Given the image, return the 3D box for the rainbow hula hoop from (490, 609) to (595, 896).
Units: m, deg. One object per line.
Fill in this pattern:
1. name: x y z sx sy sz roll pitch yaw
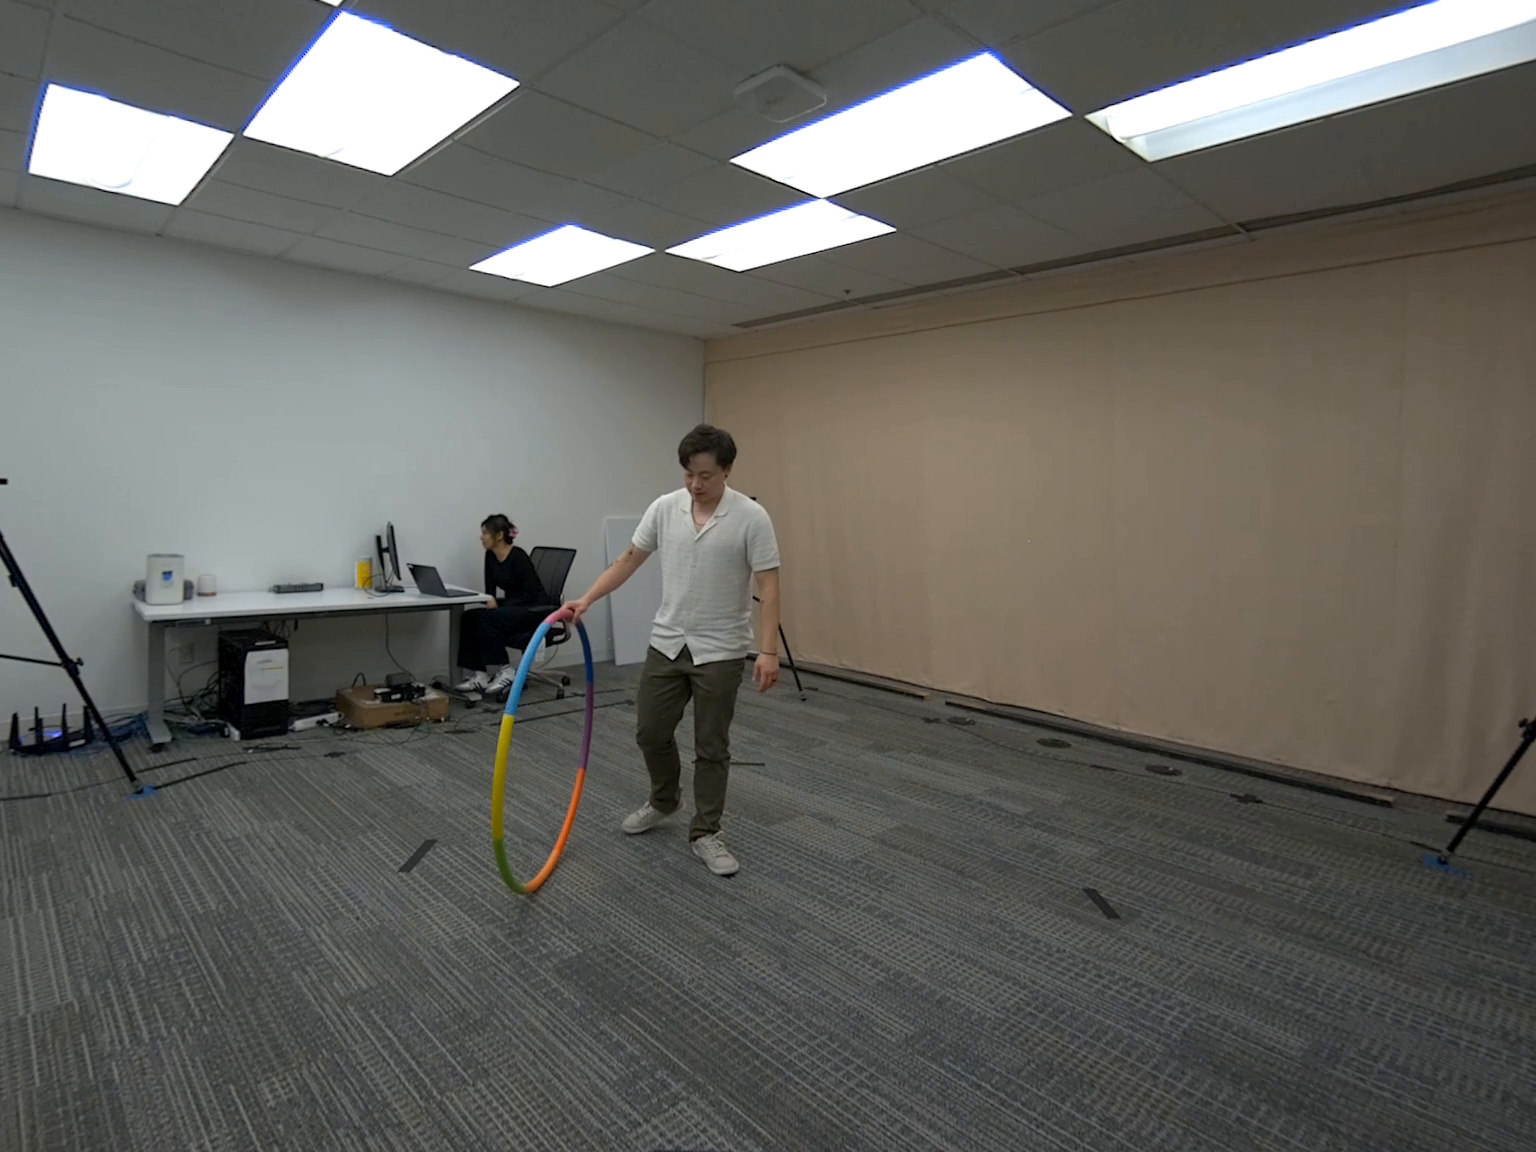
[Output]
1. rainbow hula hoop: -0.782 0.615 3.004 0.036 0.976 0.977 5 4 4
